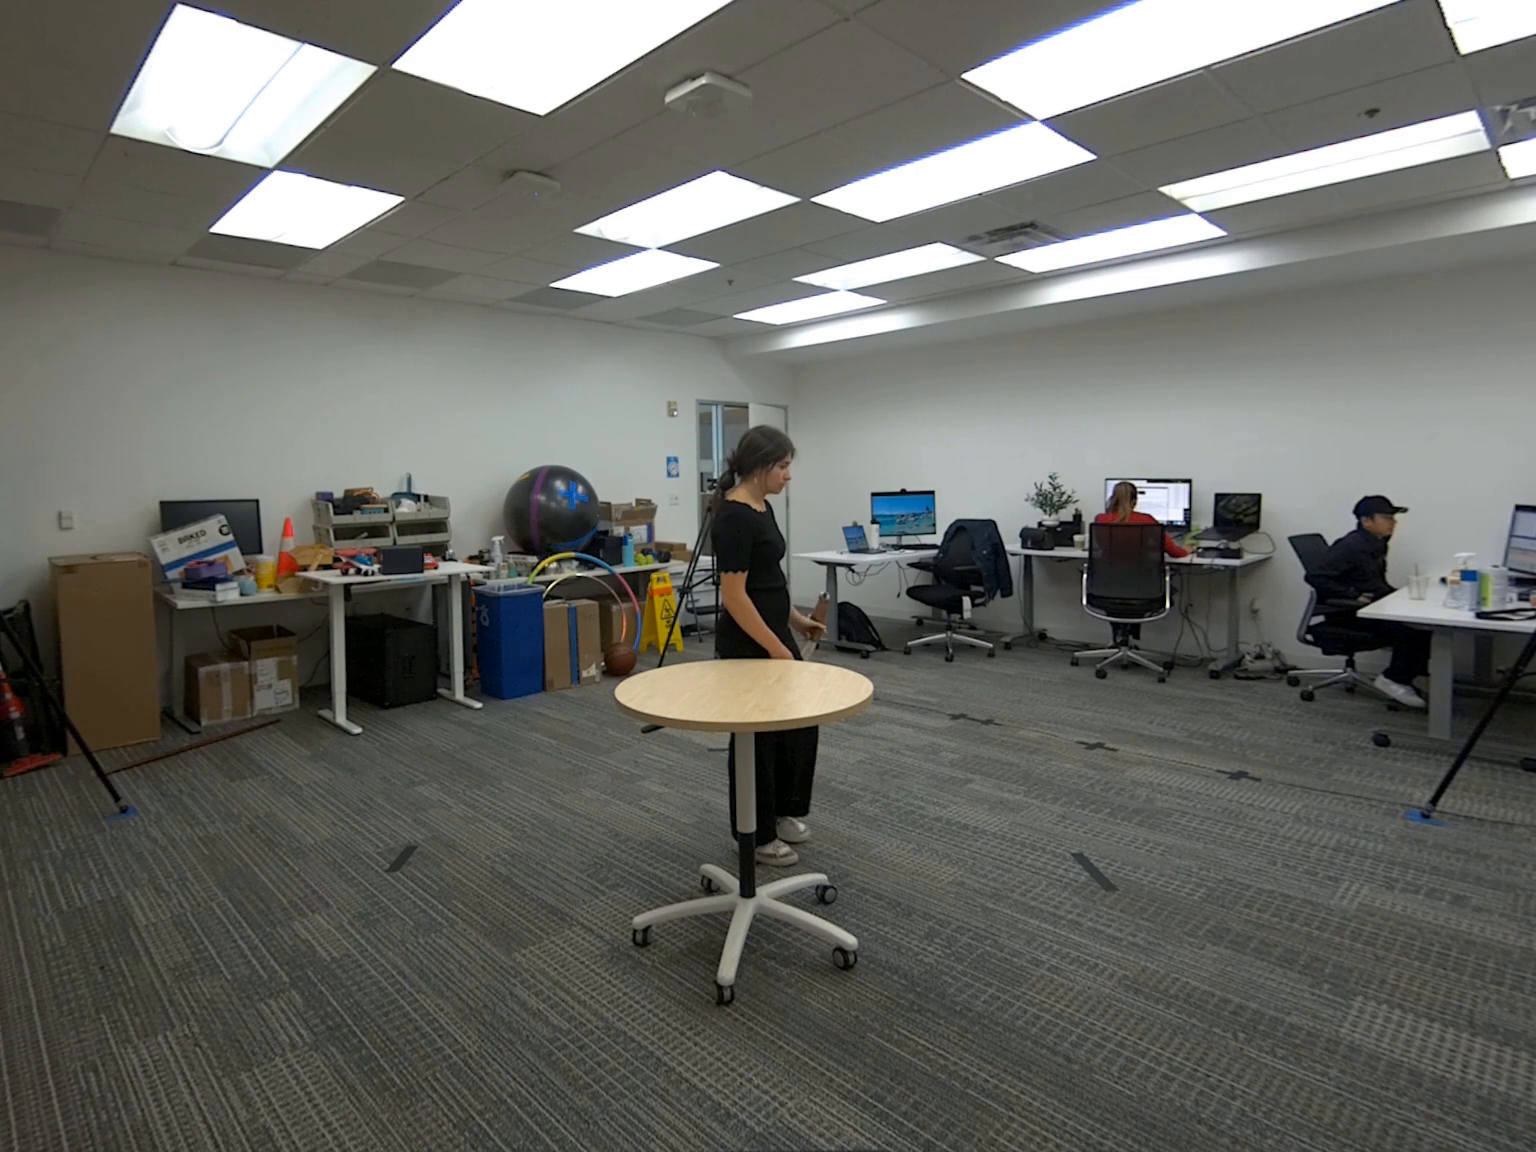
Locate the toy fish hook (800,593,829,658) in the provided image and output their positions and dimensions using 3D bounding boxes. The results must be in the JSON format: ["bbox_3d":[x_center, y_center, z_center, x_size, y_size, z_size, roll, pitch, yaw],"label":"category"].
[{"bbox_3d":[0.213,0.326,3.360,0.227,0.508,0.047,11,-4,10],"label":"toy fish hook"}]
